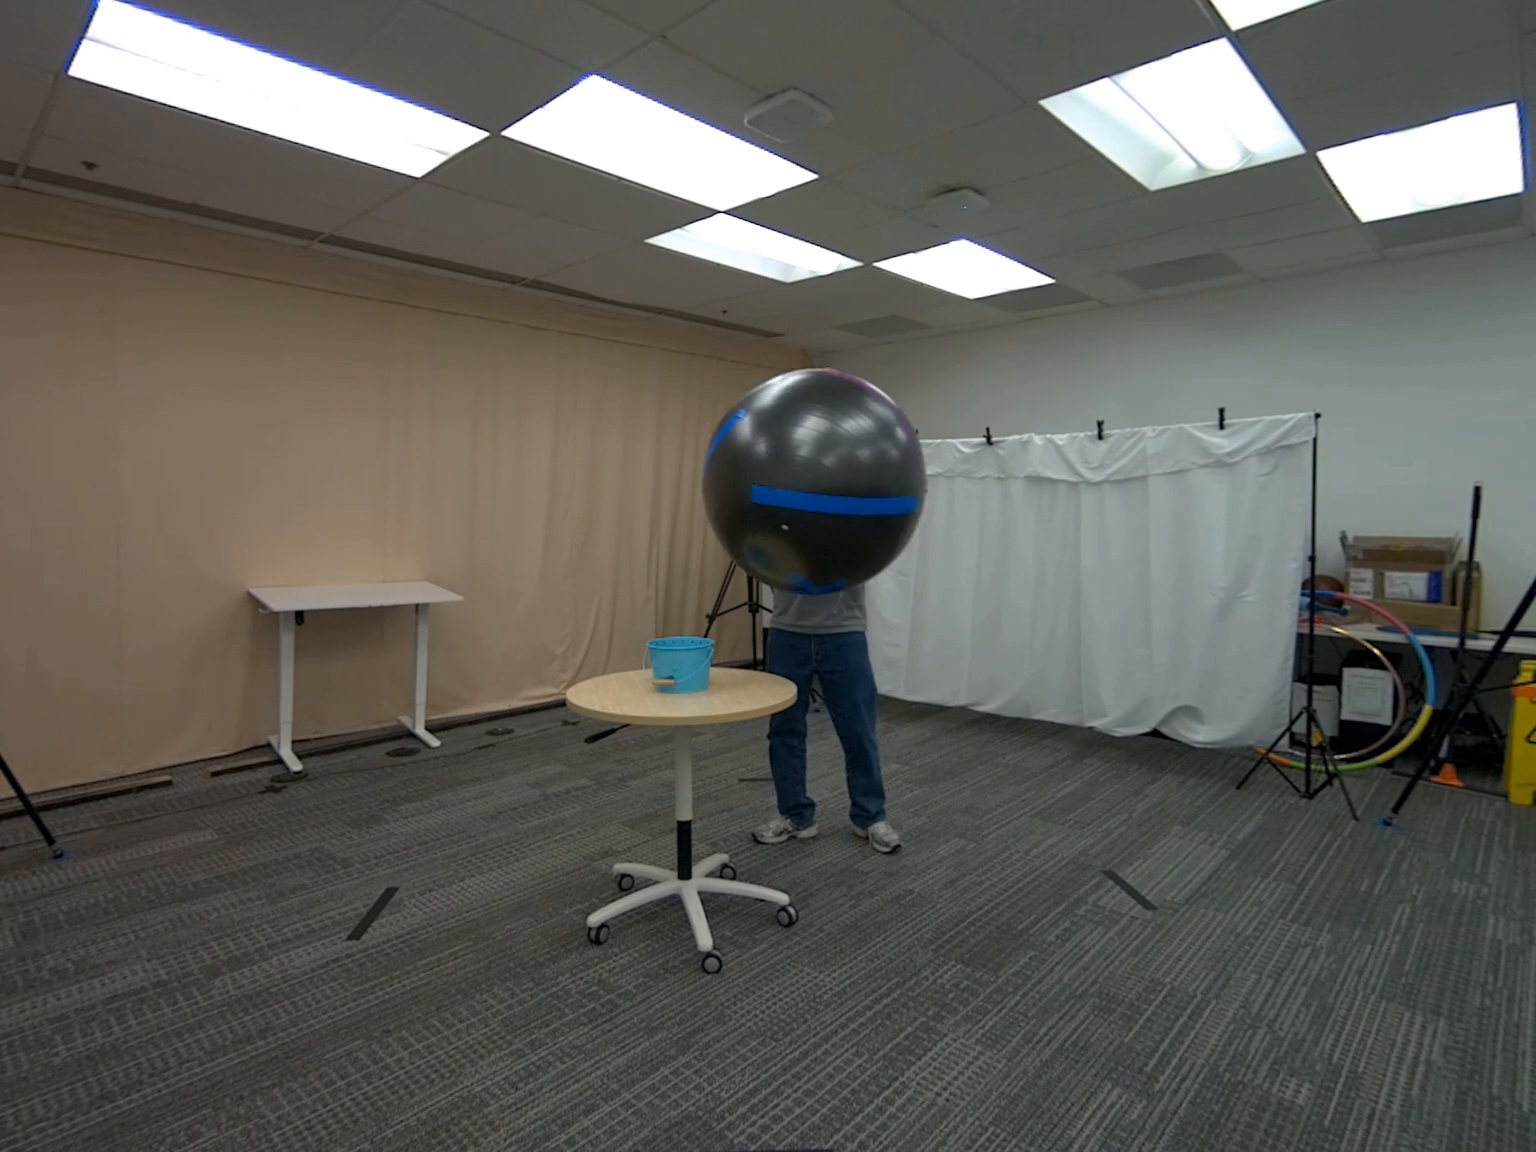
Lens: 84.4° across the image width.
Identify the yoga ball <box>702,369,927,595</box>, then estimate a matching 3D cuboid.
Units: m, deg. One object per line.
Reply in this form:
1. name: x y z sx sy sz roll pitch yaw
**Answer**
1. yoga ball: 0.152 -0.308 2.883 0.757 0.756 0.760 0 4 -2
